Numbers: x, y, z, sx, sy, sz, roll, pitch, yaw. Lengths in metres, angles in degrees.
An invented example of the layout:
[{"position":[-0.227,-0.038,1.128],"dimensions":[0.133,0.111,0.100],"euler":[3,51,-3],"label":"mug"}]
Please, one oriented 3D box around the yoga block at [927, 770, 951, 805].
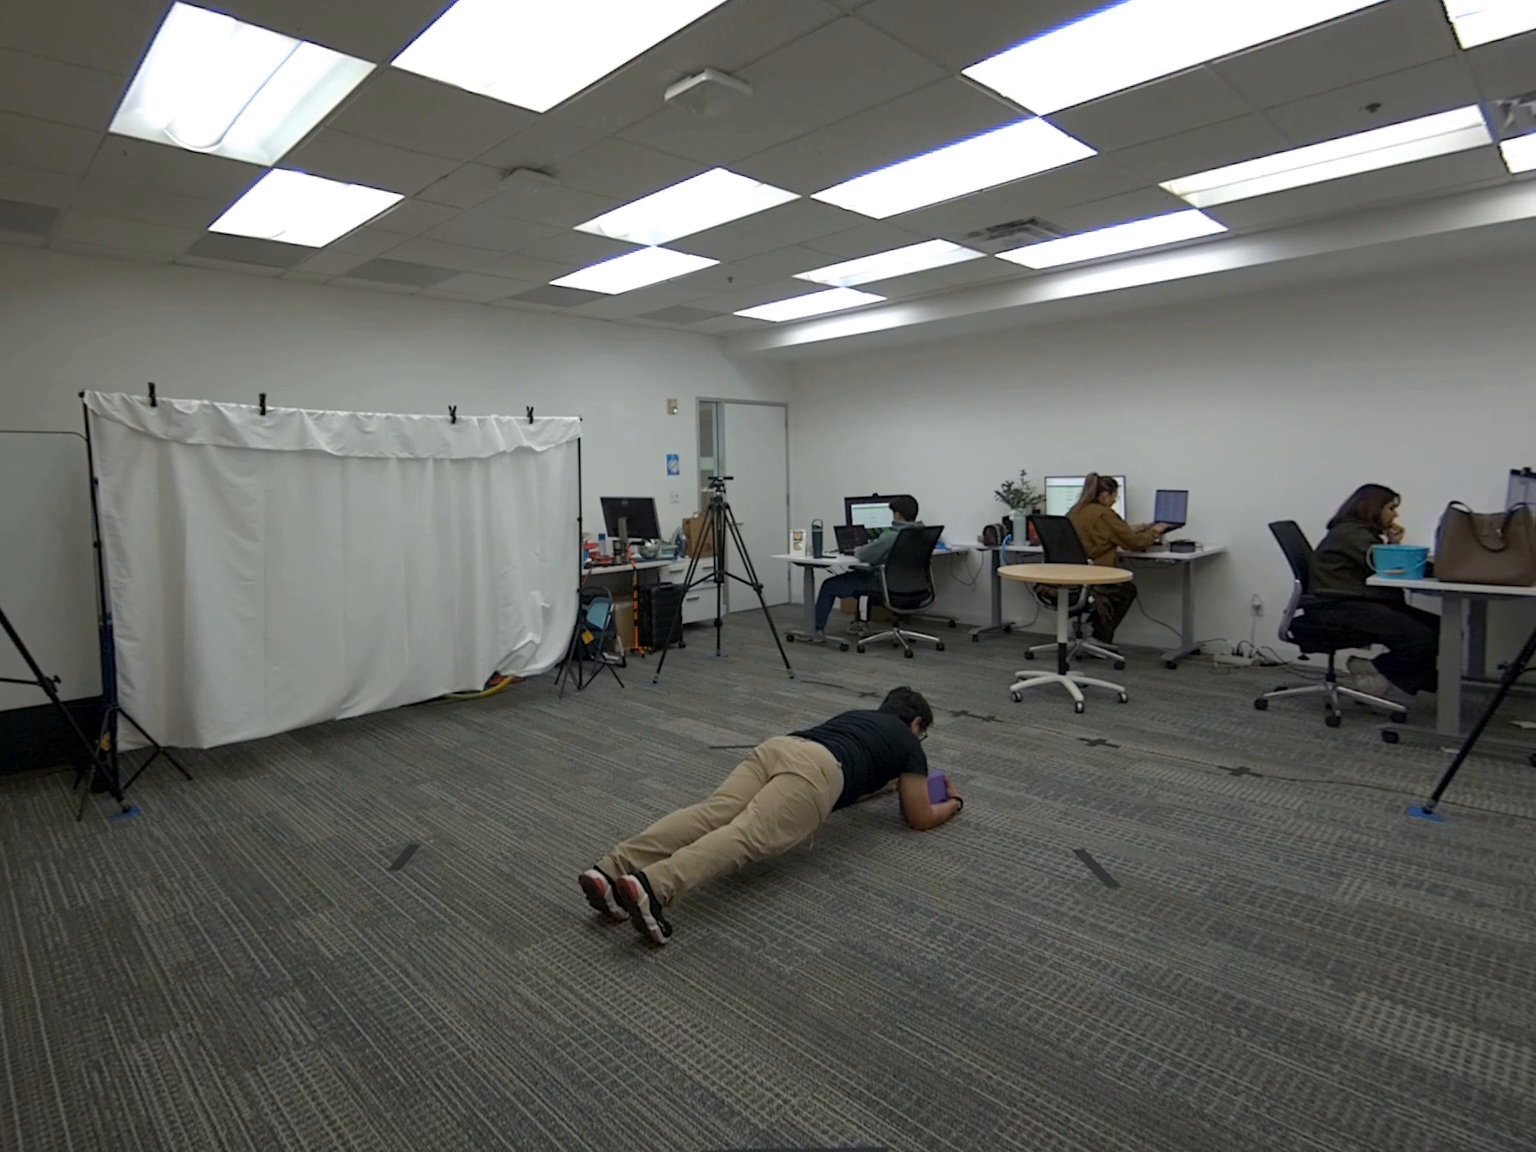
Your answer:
[{"position":[0.646,0.893,3.507],"dimensions":[0.223,0.149,0.078],"euler":[-2,0,-39],"label":"yoga block"}]
